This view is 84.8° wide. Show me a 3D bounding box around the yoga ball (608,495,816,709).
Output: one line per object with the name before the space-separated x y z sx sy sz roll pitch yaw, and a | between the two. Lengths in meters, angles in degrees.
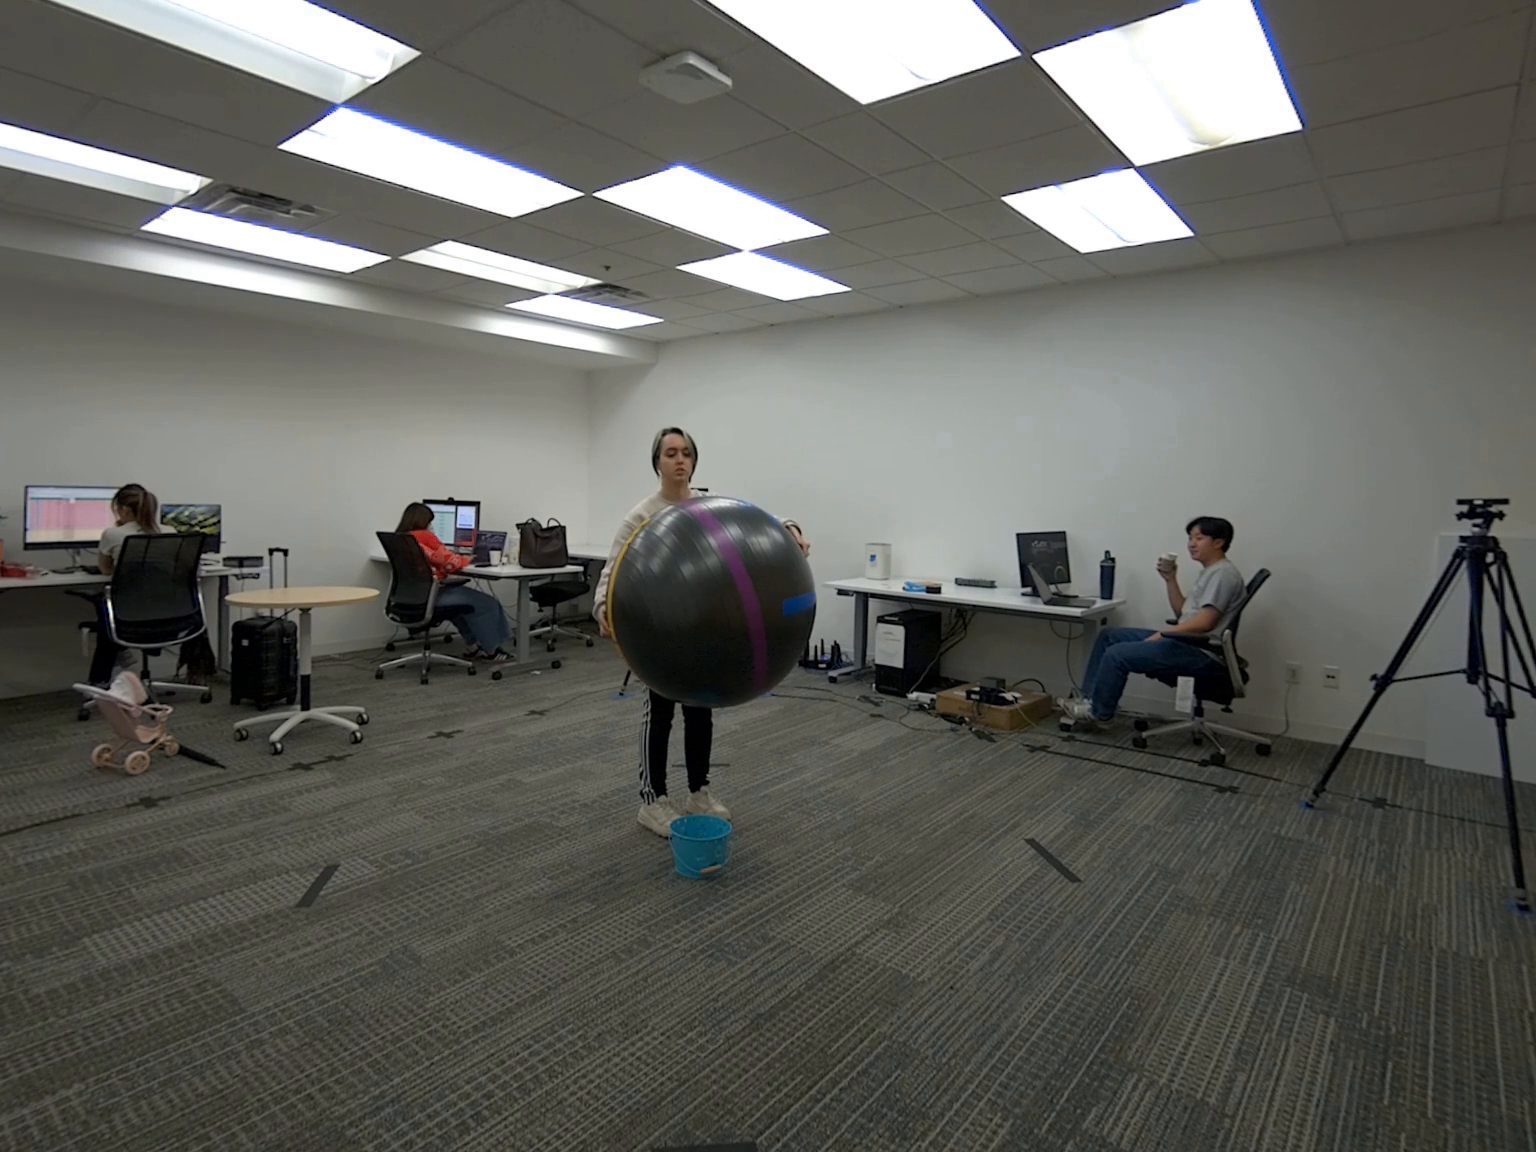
yoga ball | -0.215 0.096 3.071 0.757 0.756 0.762 1 4 -2
